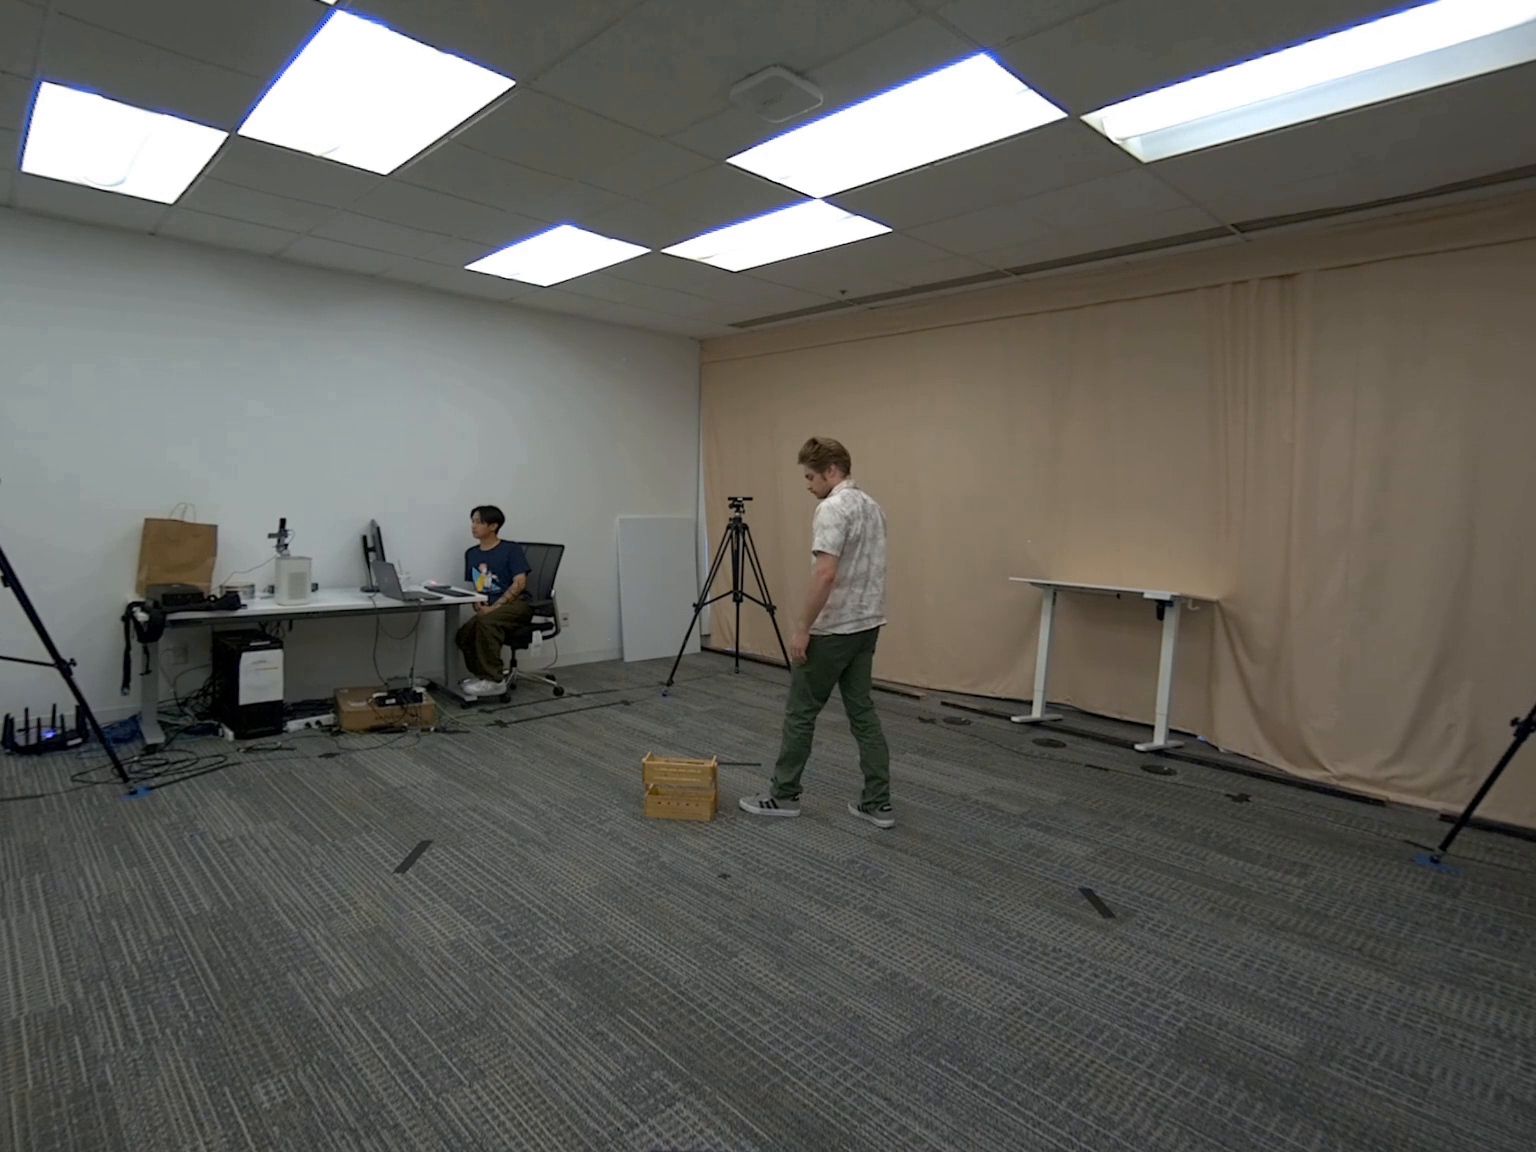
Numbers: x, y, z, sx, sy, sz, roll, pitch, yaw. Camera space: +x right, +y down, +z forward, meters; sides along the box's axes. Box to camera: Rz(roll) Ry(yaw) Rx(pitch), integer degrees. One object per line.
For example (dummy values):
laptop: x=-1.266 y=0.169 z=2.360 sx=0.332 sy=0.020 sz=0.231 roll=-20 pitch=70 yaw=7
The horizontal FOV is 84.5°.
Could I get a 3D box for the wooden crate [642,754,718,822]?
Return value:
wooden crate: x=-0.392 y=0.916 z=3.749 sx=0.325 sy=0.273 sz=0.302 roll=2 pitch=4 yaw=3
